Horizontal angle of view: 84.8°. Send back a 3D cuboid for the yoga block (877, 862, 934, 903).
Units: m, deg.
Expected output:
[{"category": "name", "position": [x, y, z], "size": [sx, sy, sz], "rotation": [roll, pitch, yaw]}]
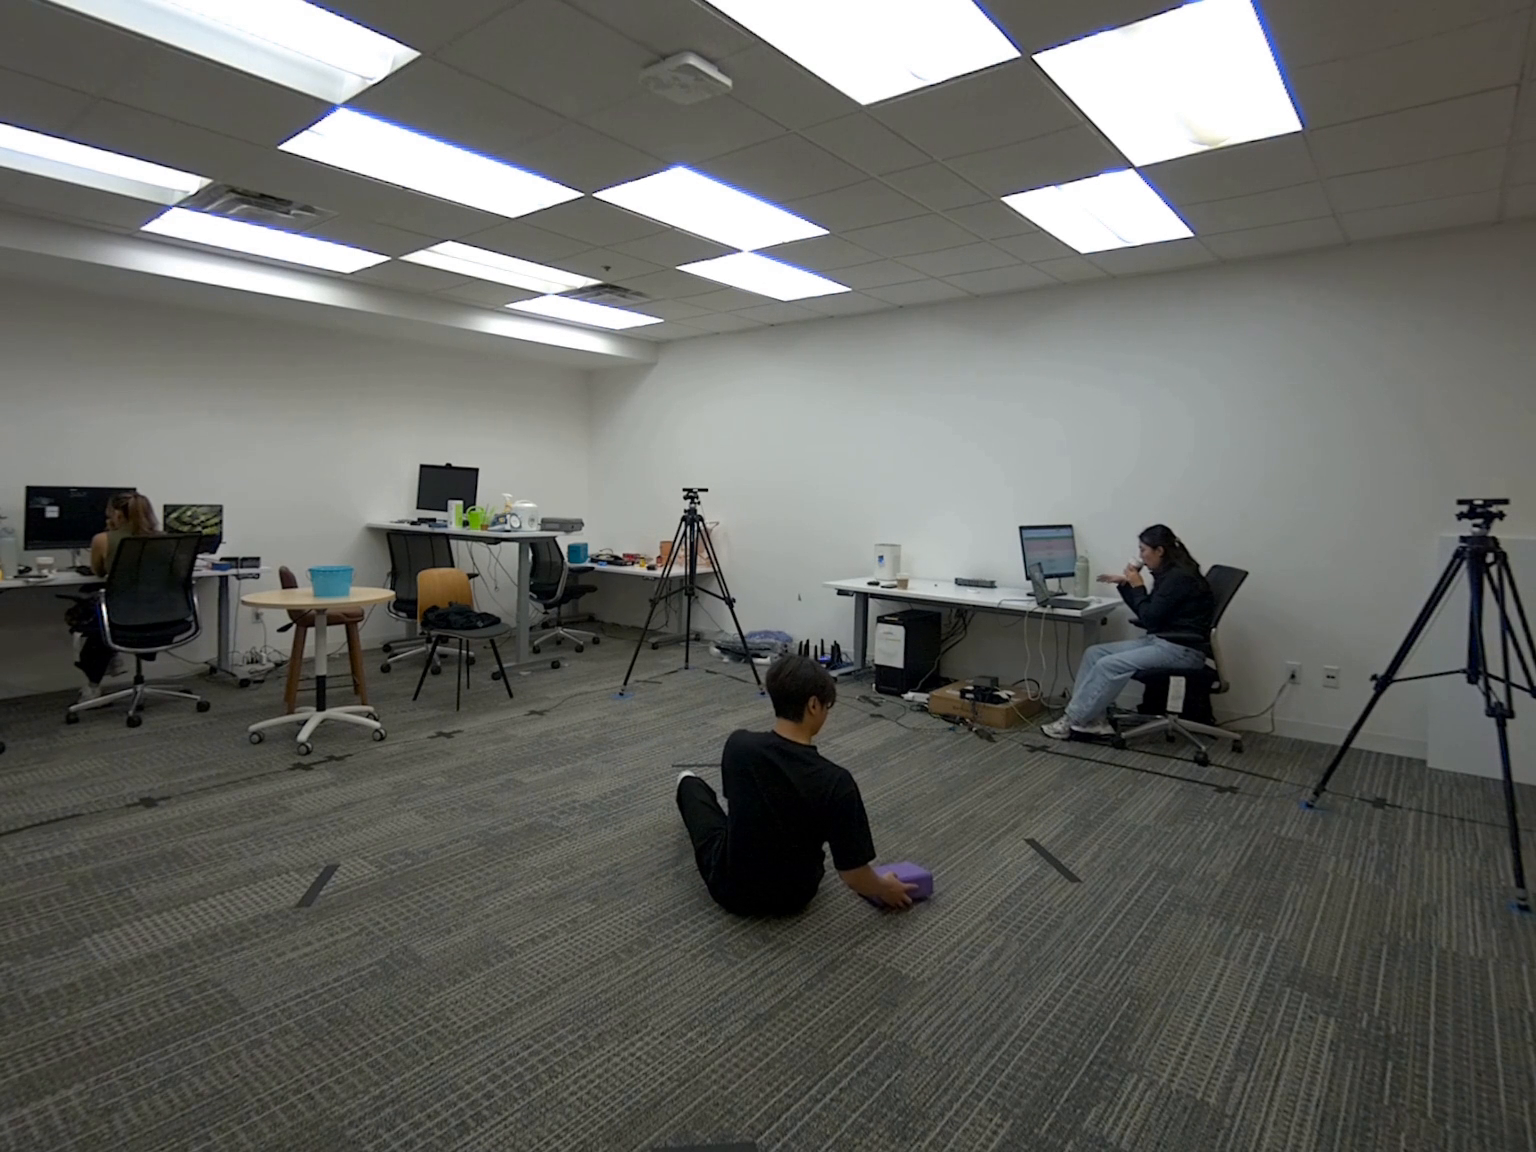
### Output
[{"category": "yoga block", "position": [0.432, 1.058, 2.936], "size": [0.224, 0.076, 0.152], "rotation": [-2, 0, -22]}]
